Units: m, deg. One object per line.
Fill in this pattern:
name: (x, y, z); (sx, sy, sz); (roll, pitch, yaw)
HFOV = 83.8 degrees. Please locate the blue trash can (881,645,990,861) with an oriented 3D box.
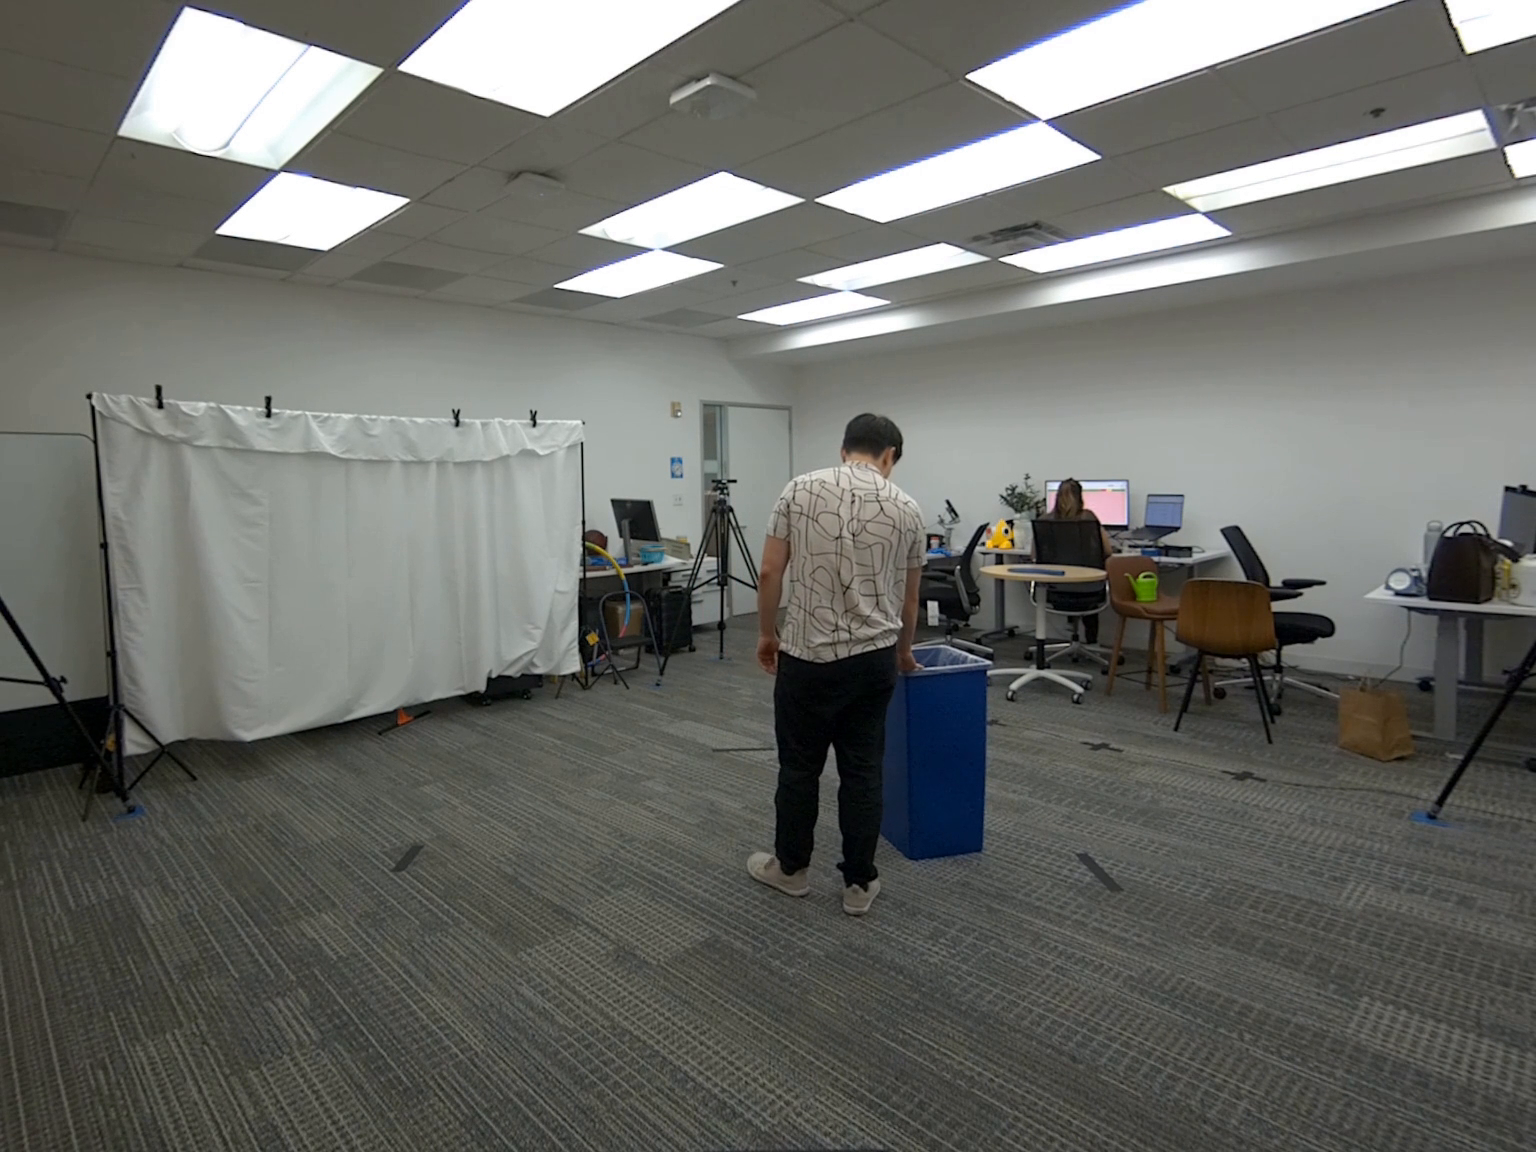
blue trash can: (0.608, 0.661, 3.263); (0.369, 0.711, 0.385); (-2, 4, -16)
